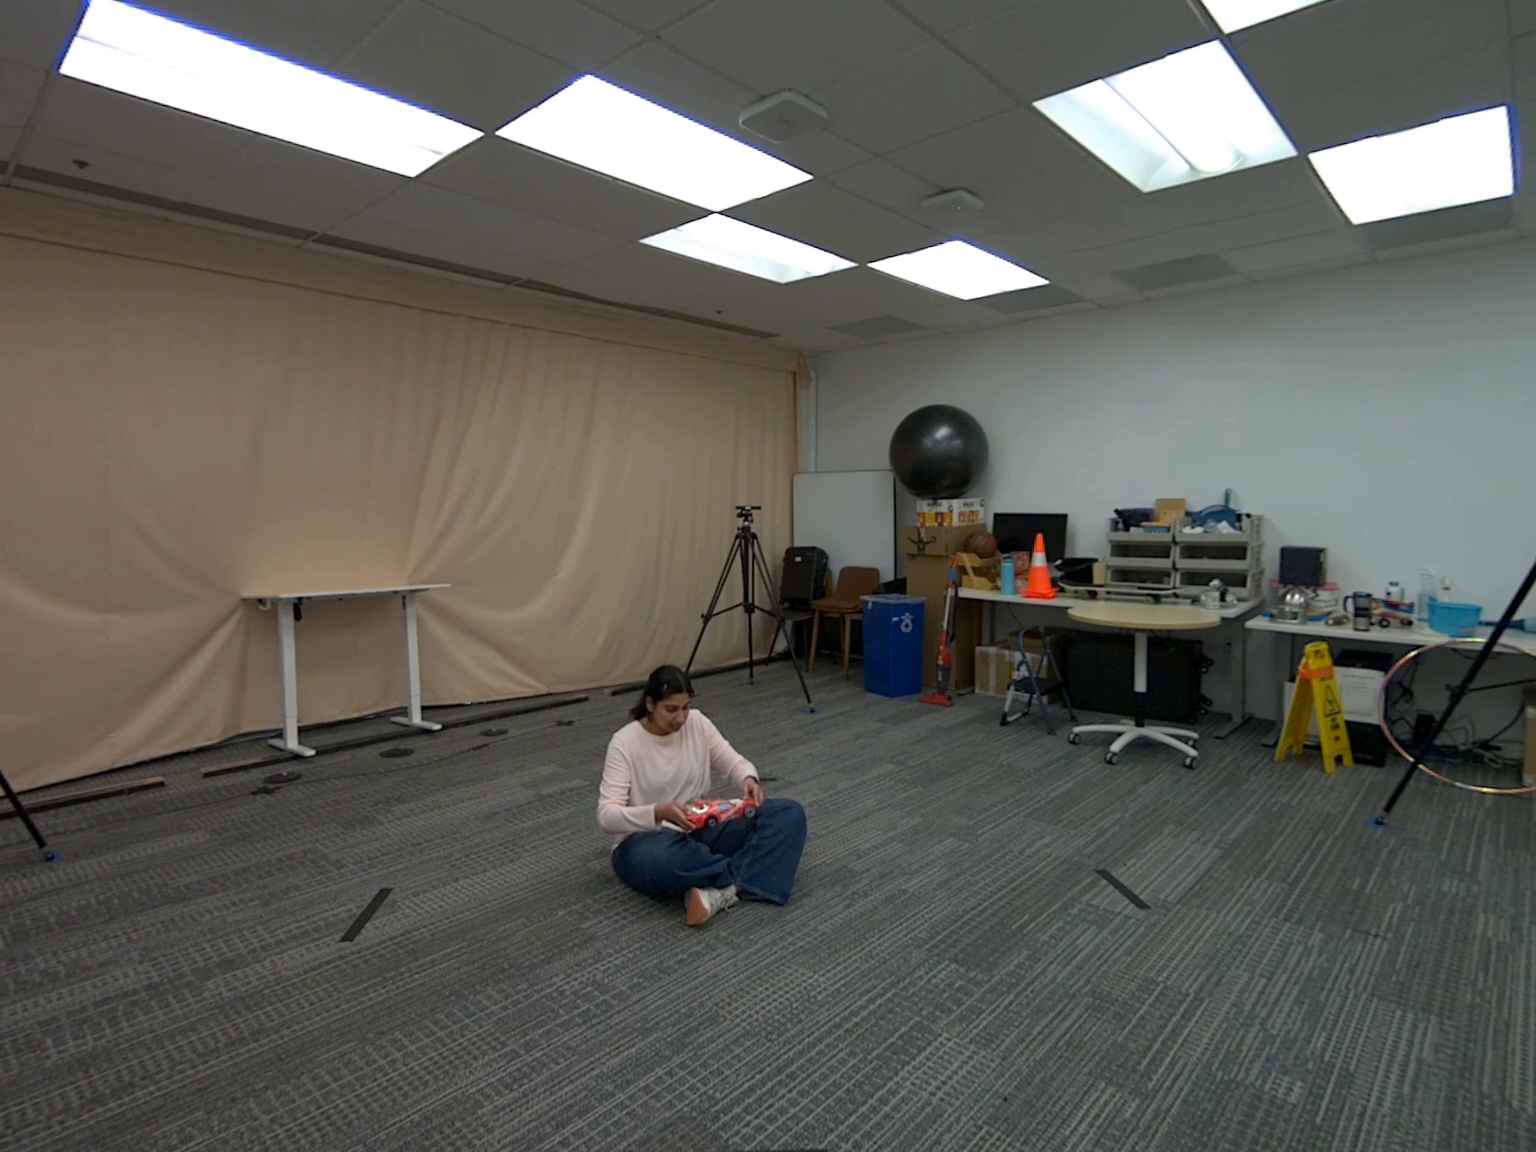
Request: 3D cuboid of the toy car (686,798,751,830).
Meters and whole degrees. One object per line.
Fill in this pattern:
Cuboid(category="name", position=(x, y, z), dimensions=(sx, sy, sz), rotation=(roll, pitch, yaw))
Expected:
Cuboid(category="toy car", position=(-0.181, 0.813, 2.872), dimensions=(0.248, 0.083, 0.133), rotation=(3, -6, -26))
